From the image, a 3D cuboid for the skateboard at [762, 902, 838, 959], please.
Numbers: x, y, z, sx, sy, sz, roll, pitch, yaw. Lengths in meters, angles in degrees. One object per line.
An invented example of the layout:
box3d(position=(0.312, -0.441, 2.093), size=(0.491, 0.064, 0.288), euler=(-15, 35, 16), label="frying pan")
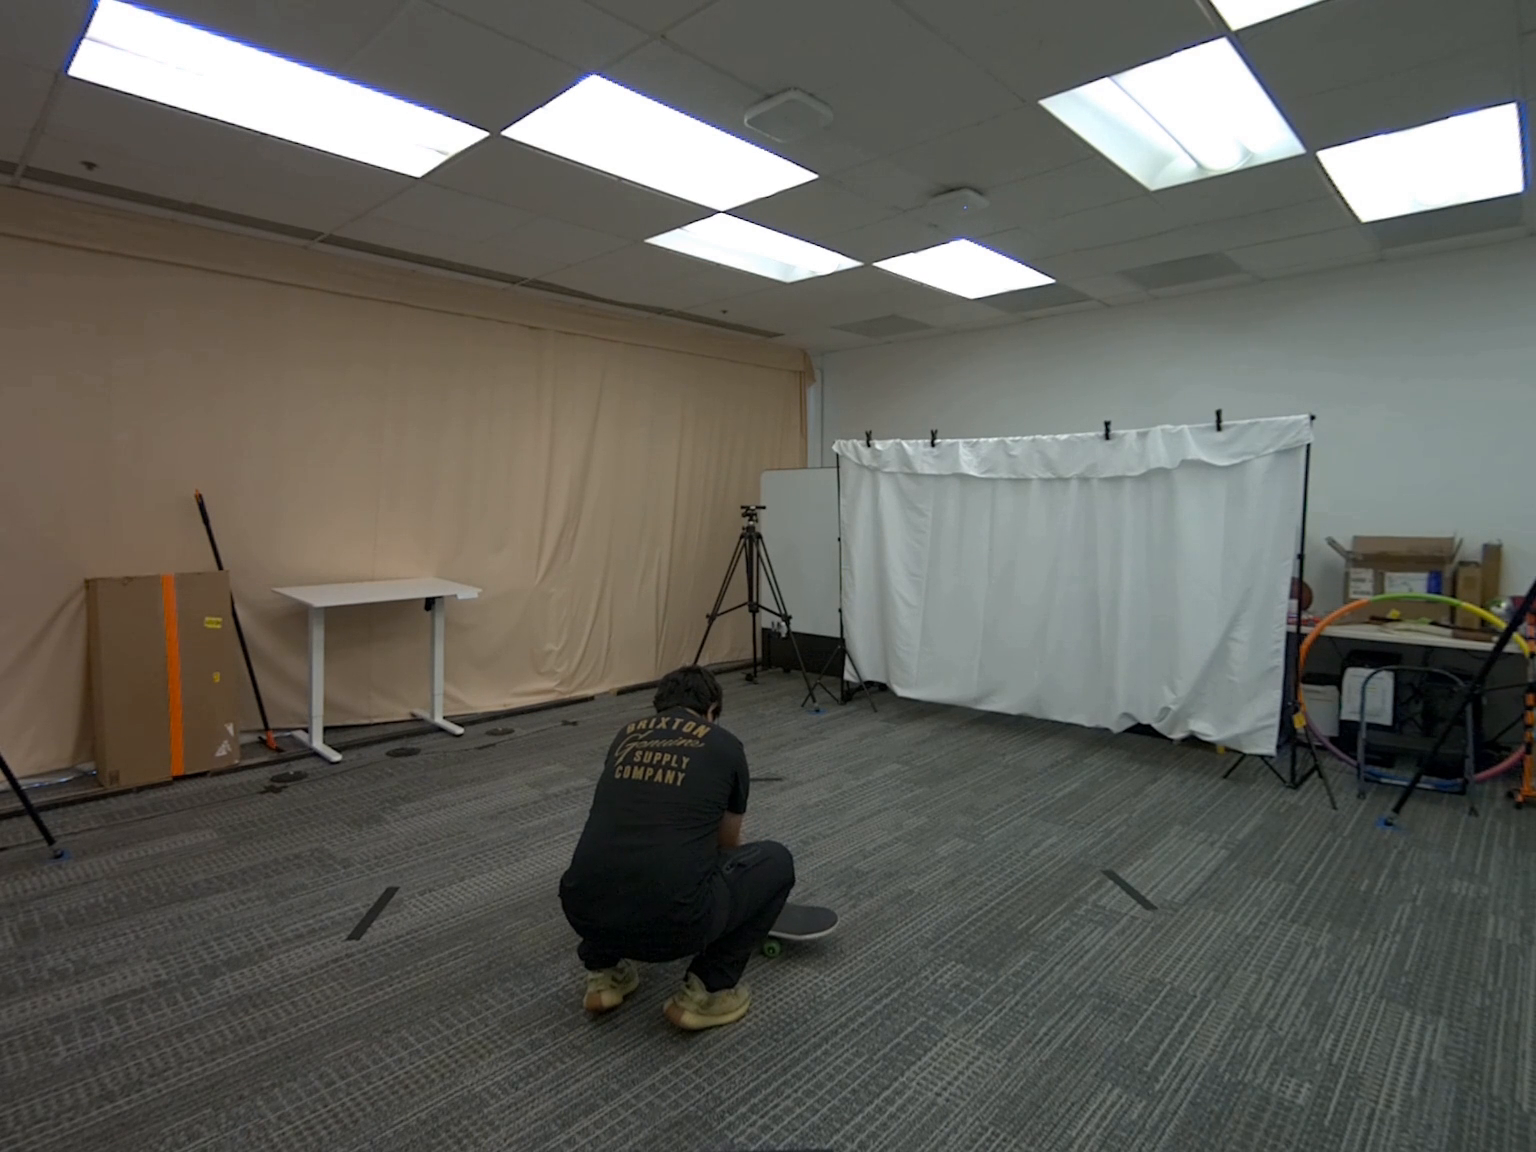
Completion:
box3d(position=(-0.168, 1.095, 2.709), size=(0.795, 0.110, 0.192), euler=(4, 6, 11), label="skateboard")
